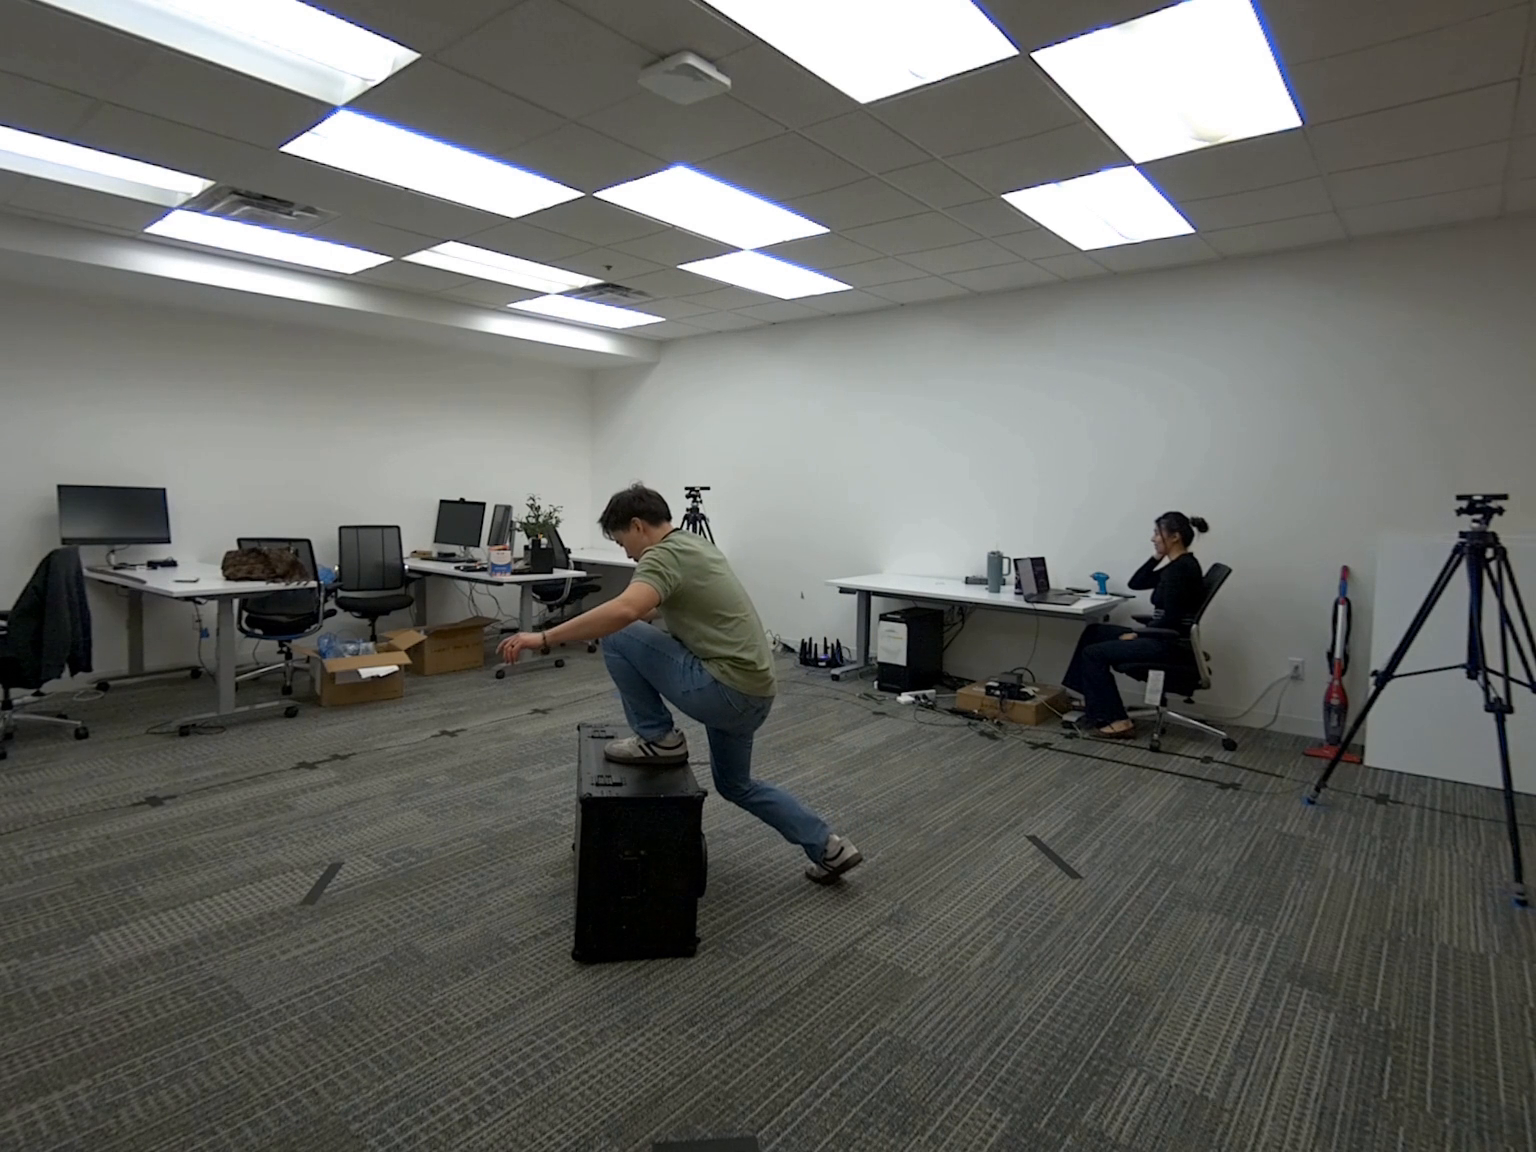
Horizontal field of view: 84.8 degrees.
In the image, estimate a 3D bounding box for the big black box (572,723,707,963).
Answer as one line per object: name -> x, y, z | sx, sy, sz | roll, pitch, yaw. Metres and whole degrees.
big black box -> -0.465, 0.828, 2.884 | 0.391, 0.520, 0.876 | 2, 4, -14
